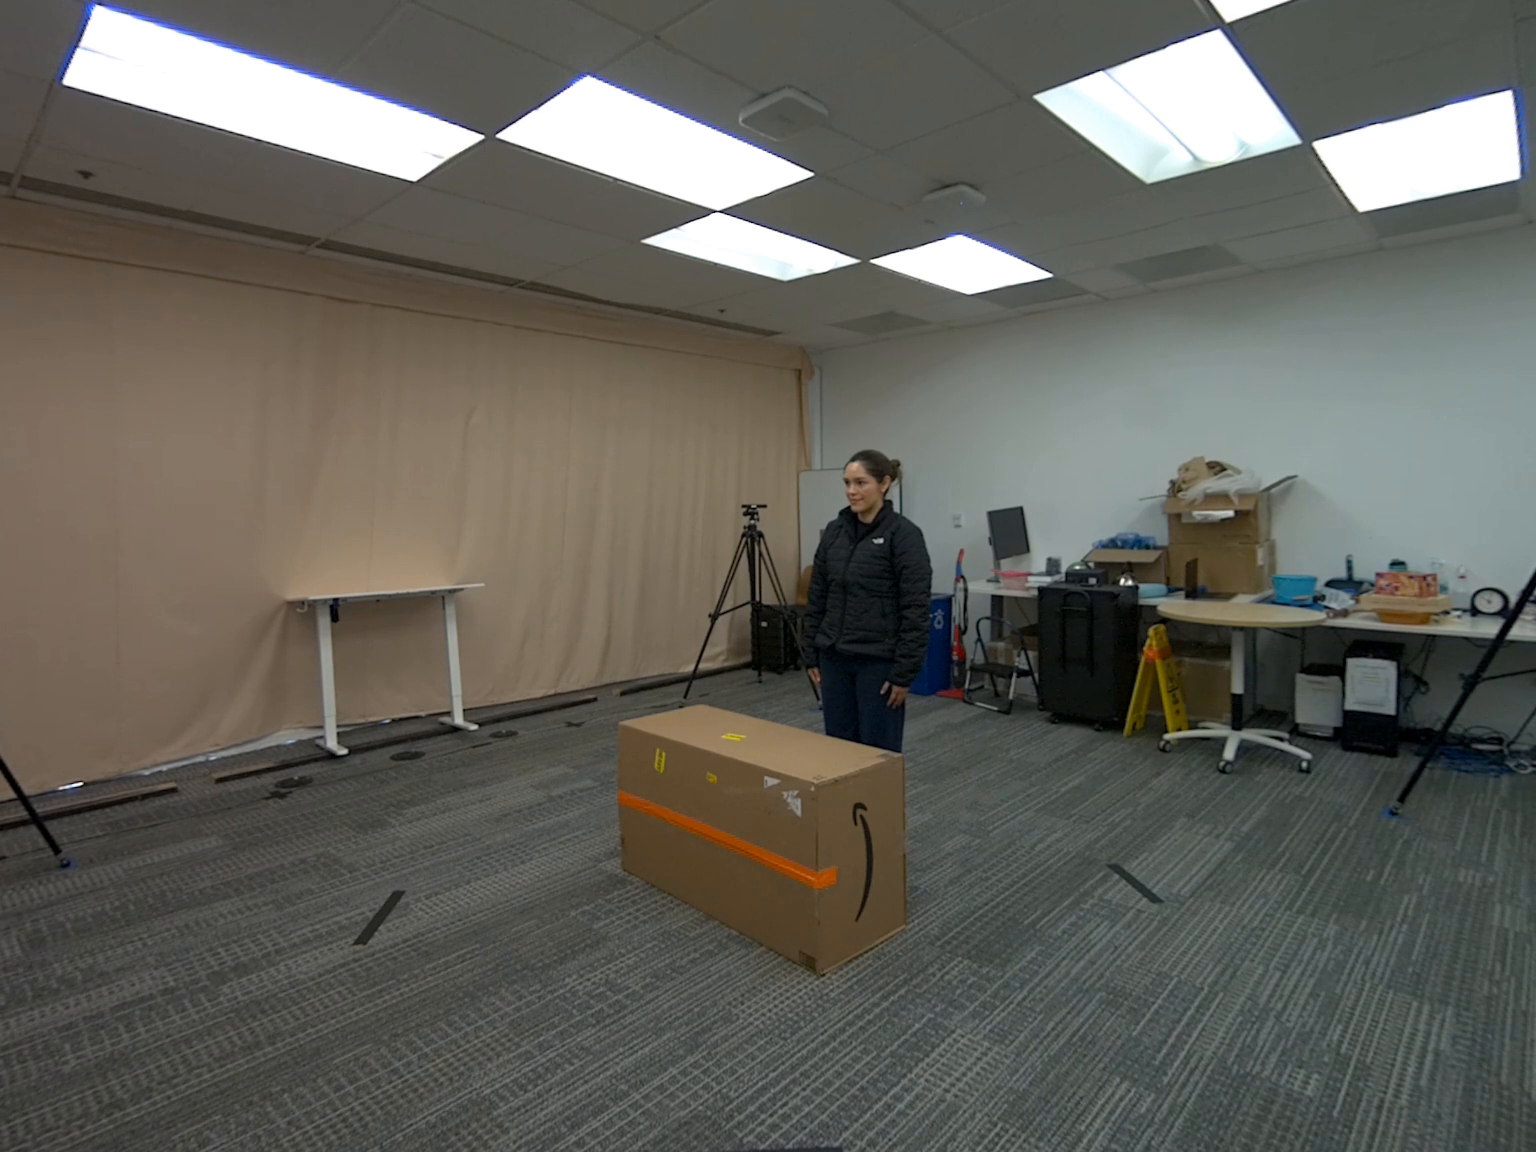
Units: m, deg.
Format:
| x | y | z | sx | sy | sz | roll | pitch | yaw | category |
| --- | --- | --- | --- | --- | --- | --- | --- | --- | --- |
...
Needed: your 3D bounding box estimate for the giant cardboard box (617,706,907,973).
| x | y | z | sx | sy | sz | roll | pitch | yaw | category |
| --- | --- | --- | --- | --- | --- | --- | --- | --- | --- |
| -0.053 | 0.855 | 2.981 | 0.433 | 0.582 | 1.061 | -5 | 6 | -43 | giant cardboard box |
